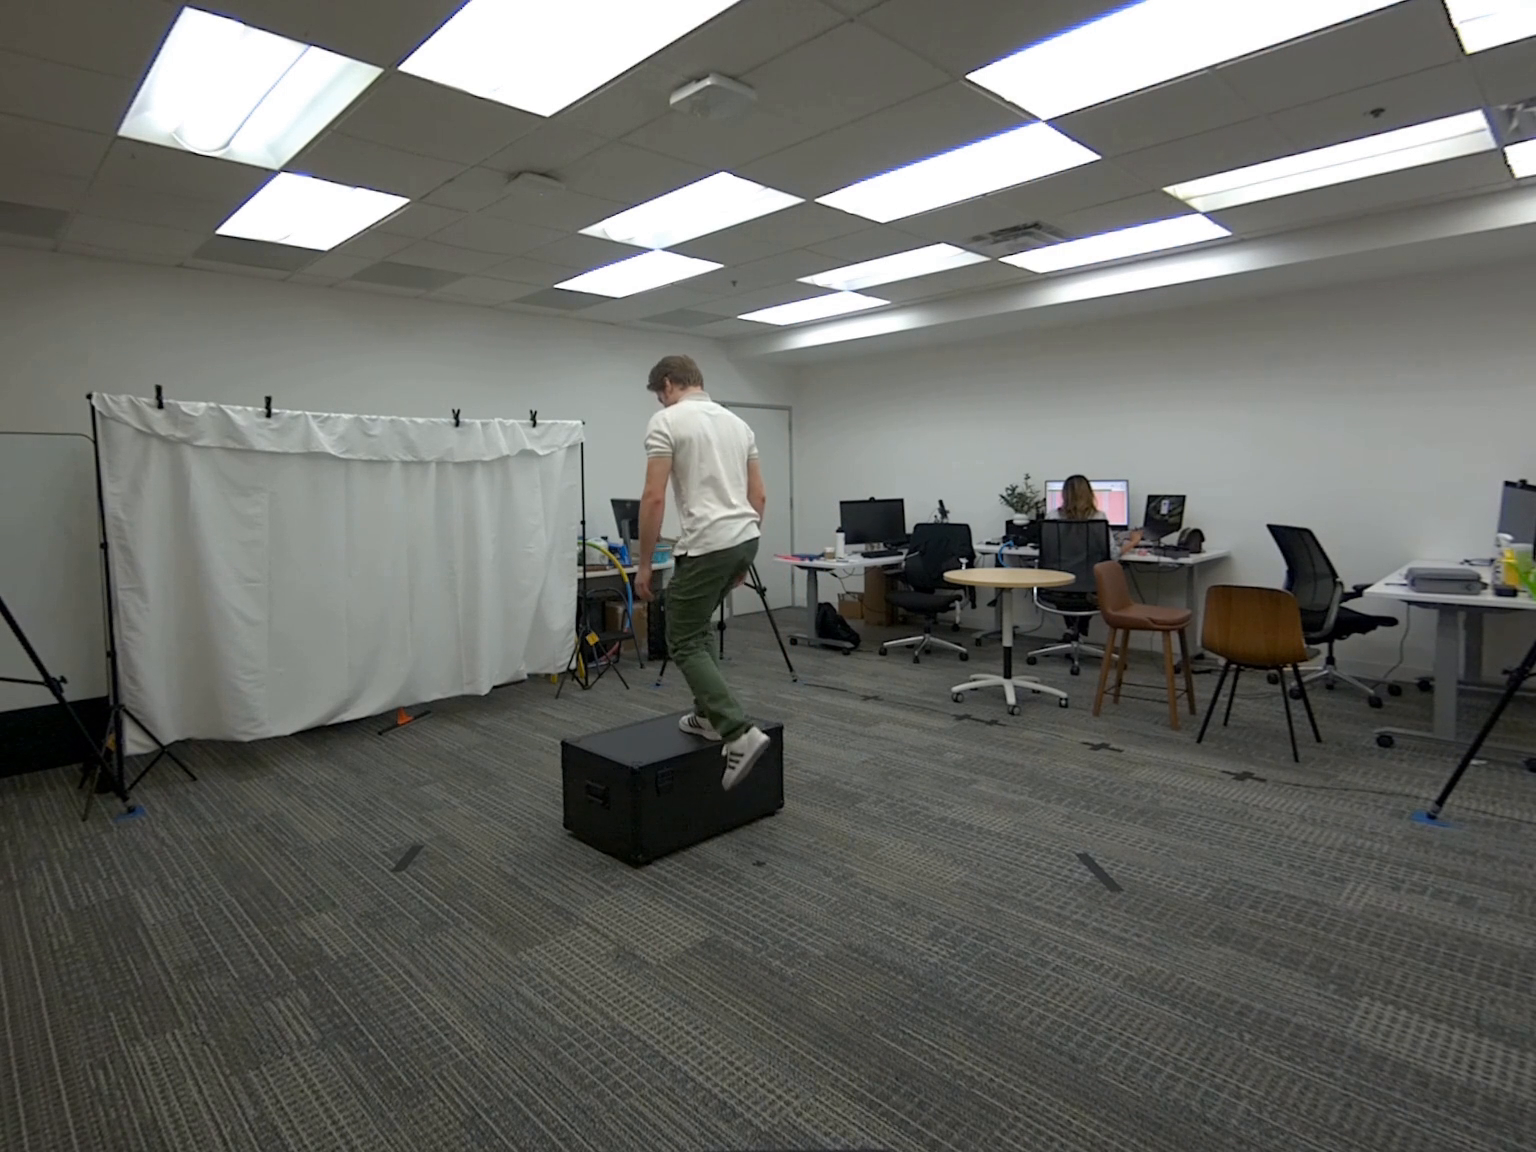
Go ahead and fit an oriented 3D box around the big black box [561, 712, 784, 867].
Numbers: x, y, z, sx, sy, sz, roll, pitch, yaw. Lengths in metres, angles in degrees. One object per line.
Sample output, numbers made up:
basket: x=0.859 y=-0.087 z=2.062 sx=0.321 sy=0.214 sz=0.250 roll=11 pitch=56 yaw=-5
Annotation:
big black box: x=-0.345 y=0.815 z=3.506 sx=0.845 sy=0.384 sz=0.539 roll=-6 pitch=6 yaw=-44
